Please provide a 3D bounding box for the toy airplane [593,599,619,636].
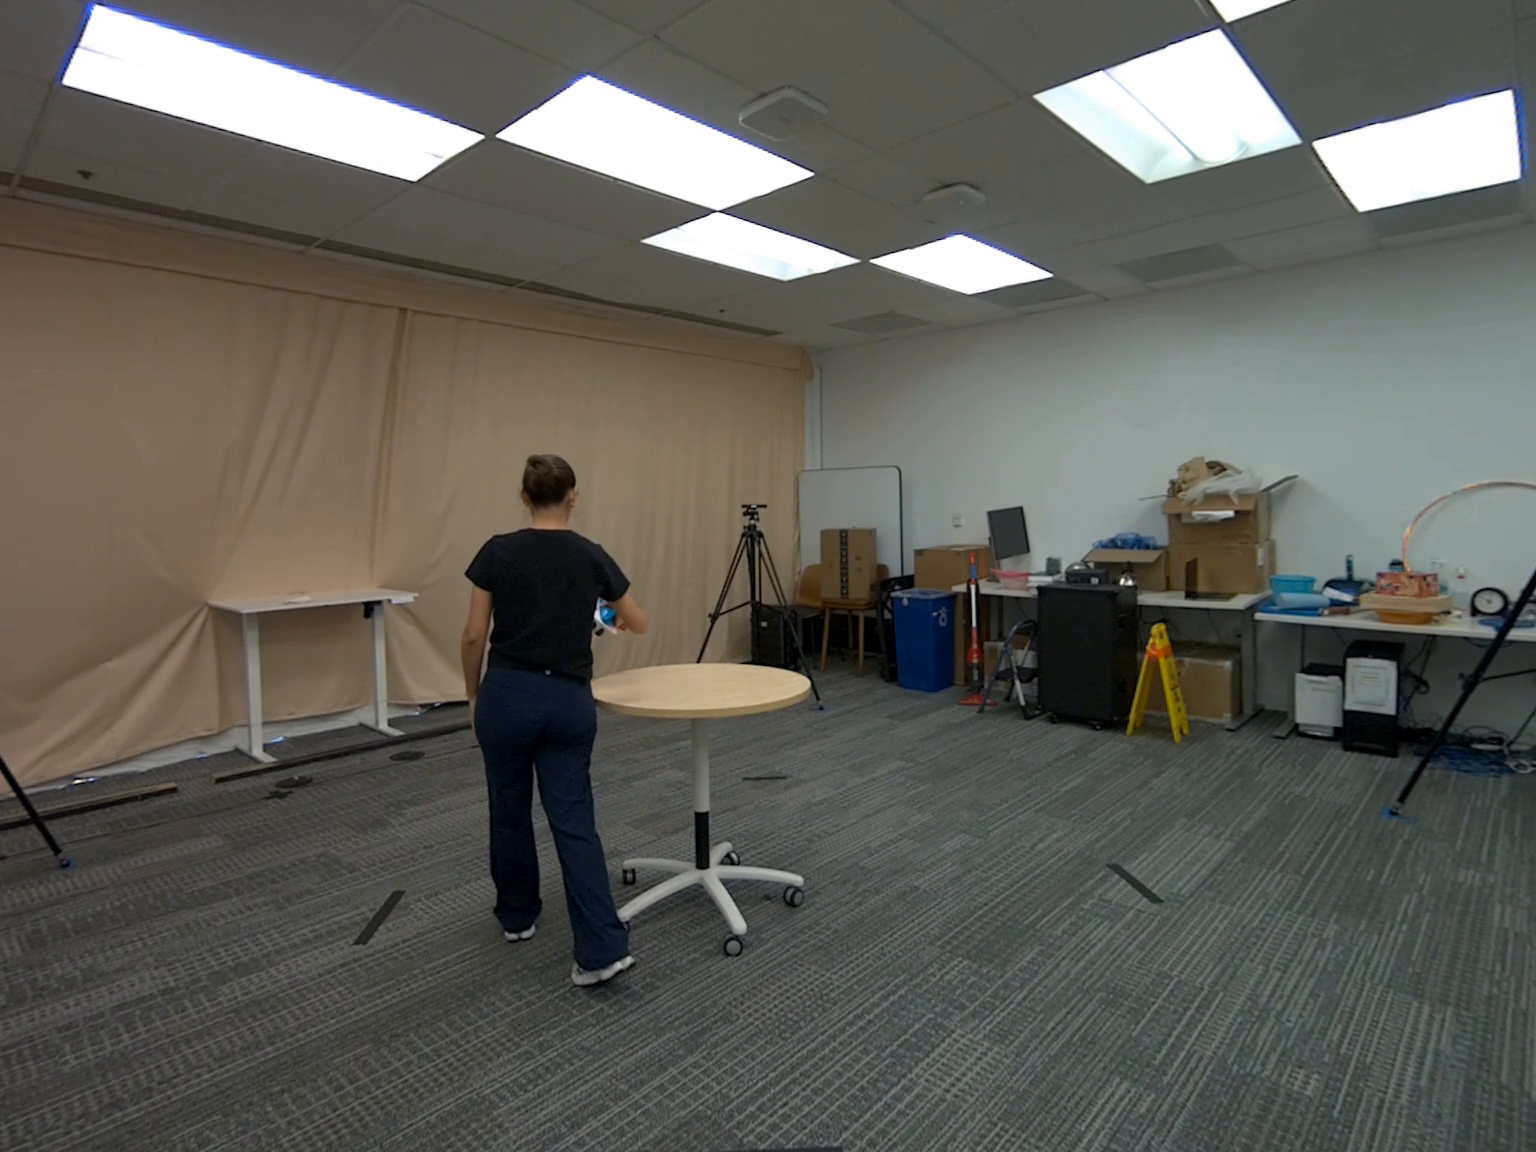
[{"bbox_3d":[-0.562,0.122,3.095,0.242,0.156,0.268,40,5,-47],"label":"toy airplane"}]
